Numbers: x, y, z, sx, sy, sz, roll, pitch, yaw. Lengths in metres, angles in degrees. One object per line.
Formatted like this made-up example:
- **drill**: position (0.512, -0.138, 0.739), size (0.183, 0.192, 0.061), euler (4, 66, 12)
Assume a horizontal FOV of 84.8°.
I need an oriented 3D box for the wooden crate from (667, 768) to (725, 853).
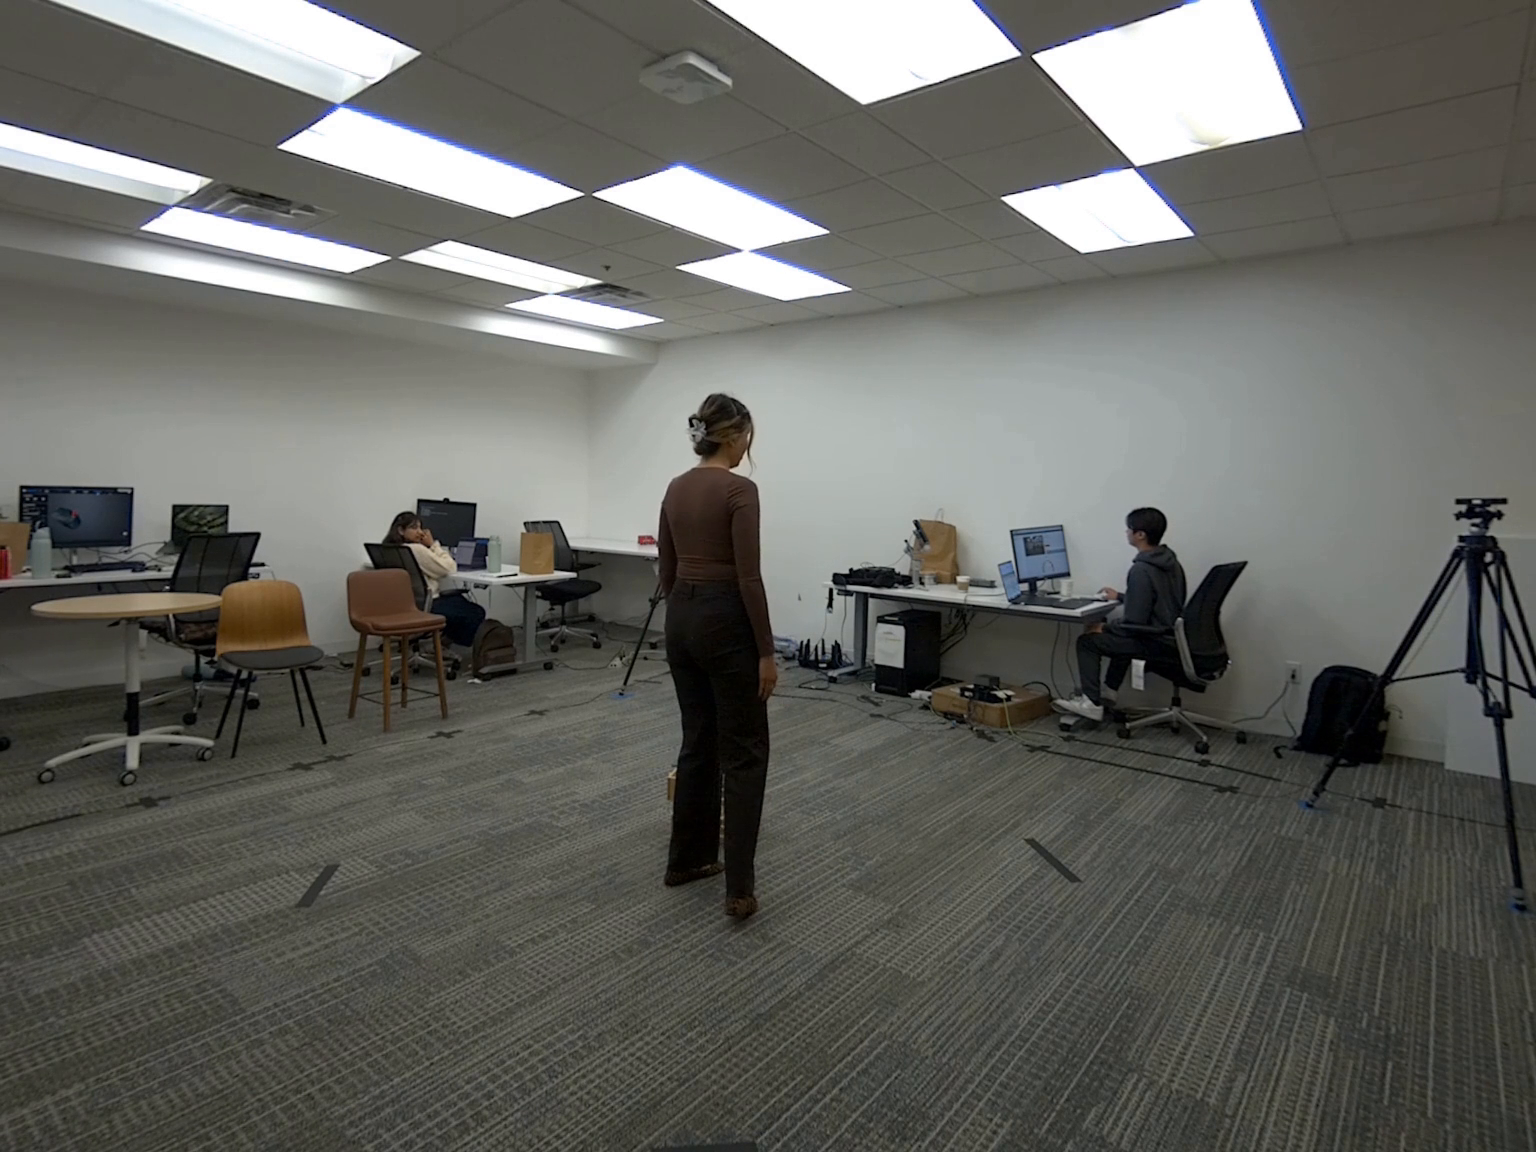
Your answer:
- **wooden crate**: position (-0.226, 0.895, 3.442), size (0.329, 0.272, 0.299), euler (2, 5, 12)
